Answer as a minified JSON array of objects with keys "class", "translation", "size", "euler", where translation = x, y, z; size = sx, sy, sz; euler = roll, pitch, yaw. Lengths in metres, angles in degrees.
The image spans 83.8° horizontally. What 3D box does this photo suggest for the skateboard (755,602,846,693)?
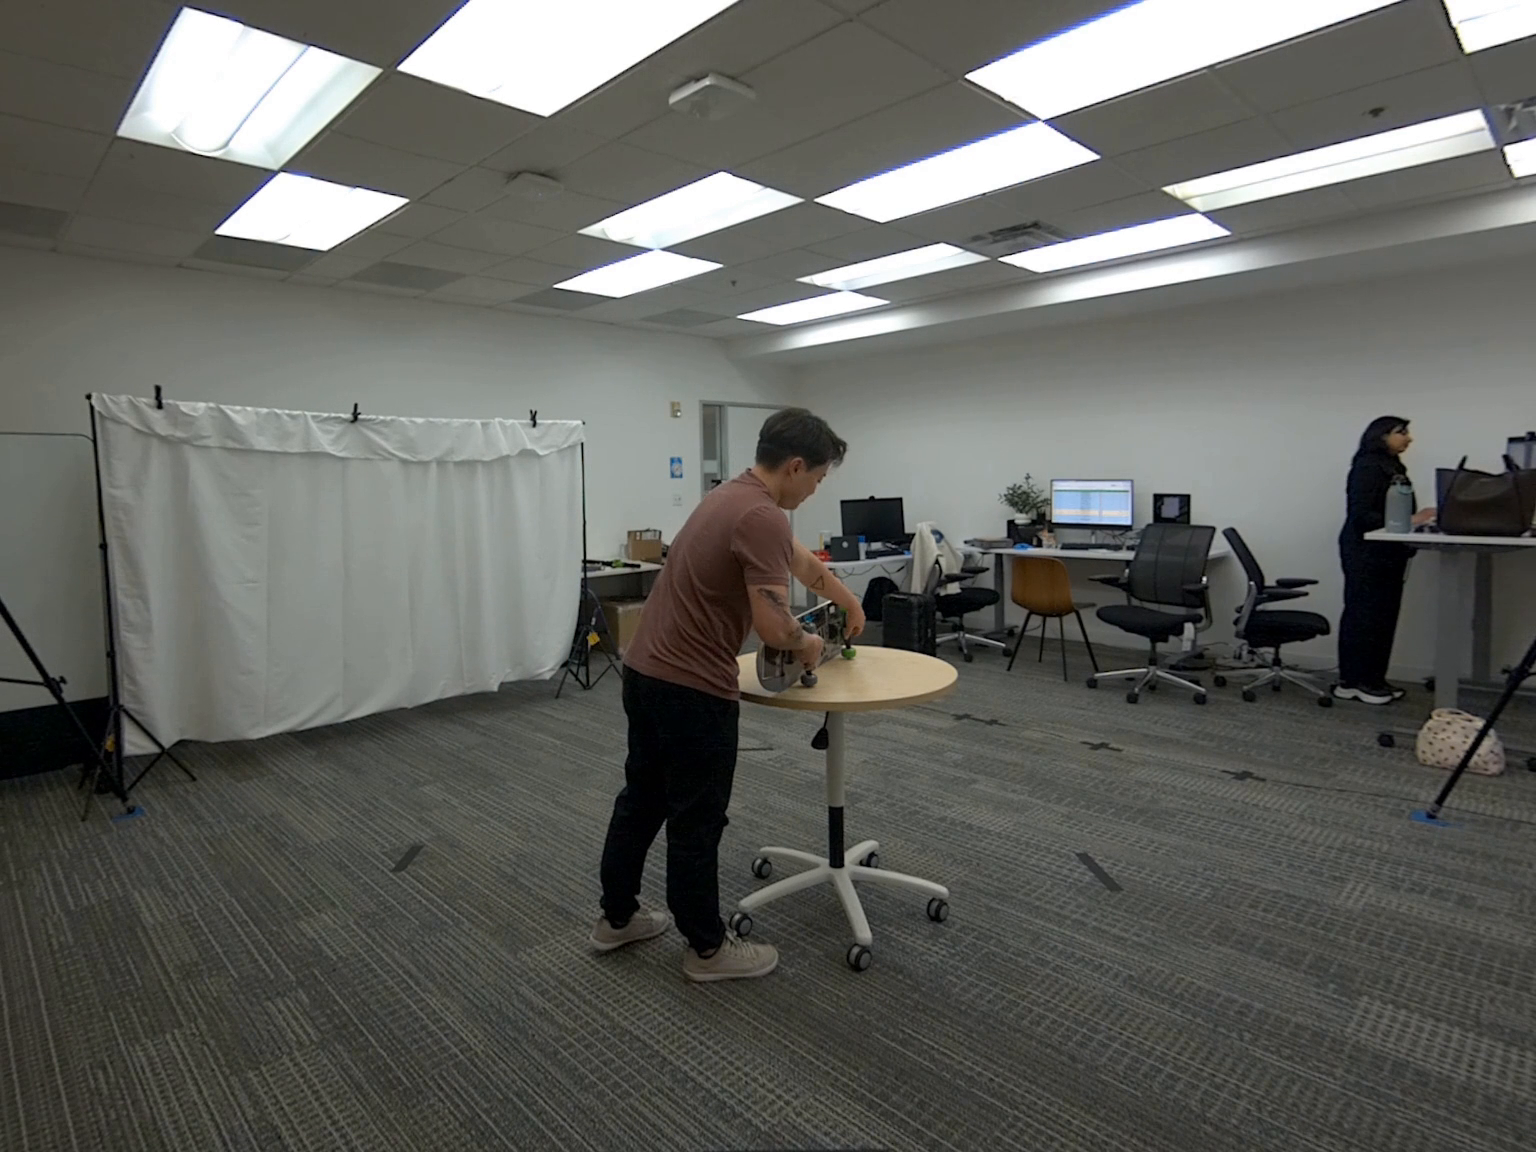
[{"class":"skateboard","translation":[0.160,0.209,2.726],"size":[0.113,0.192,0.772],"euler":[2,8,23]}]
